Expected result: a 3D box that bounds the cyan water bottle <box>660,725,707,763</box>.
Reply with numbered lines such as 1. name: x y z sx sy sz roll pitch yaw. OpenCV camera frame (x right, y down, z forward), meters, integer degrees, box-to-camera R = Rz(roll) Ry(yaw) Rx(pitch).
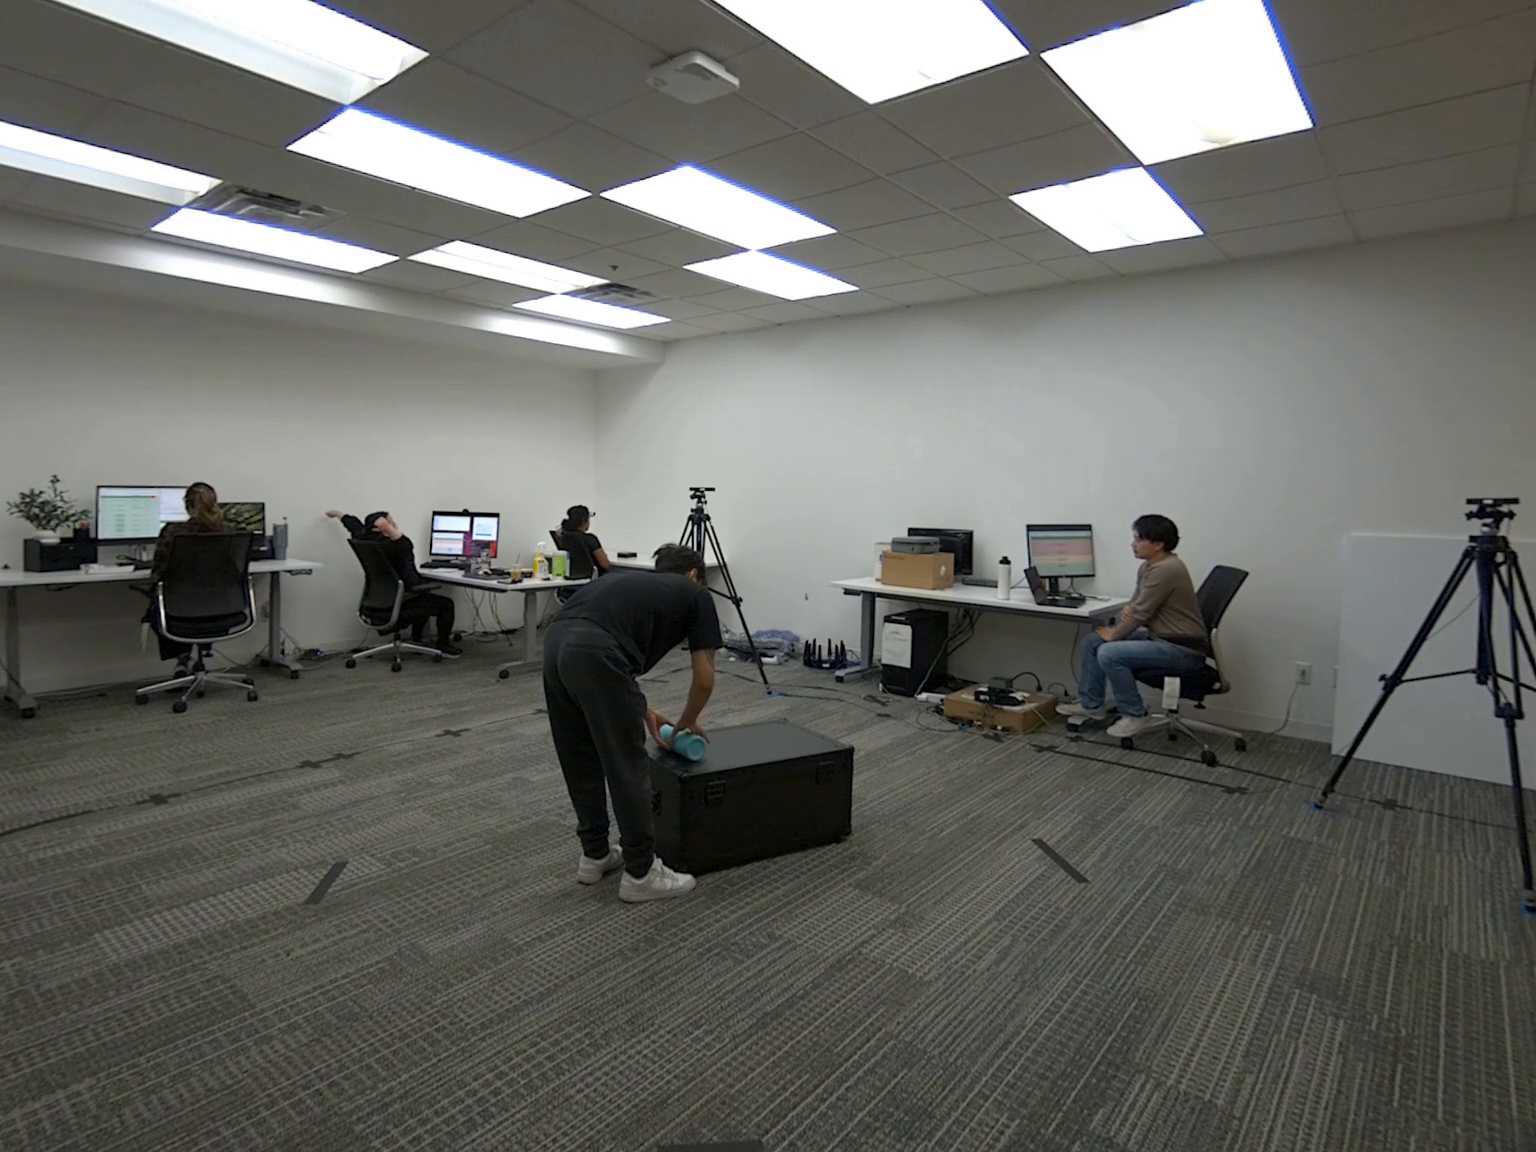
1. cyan water bottle: -0.356 0.626 3.270 0.090 0.092 0.292 -2 6 -34
